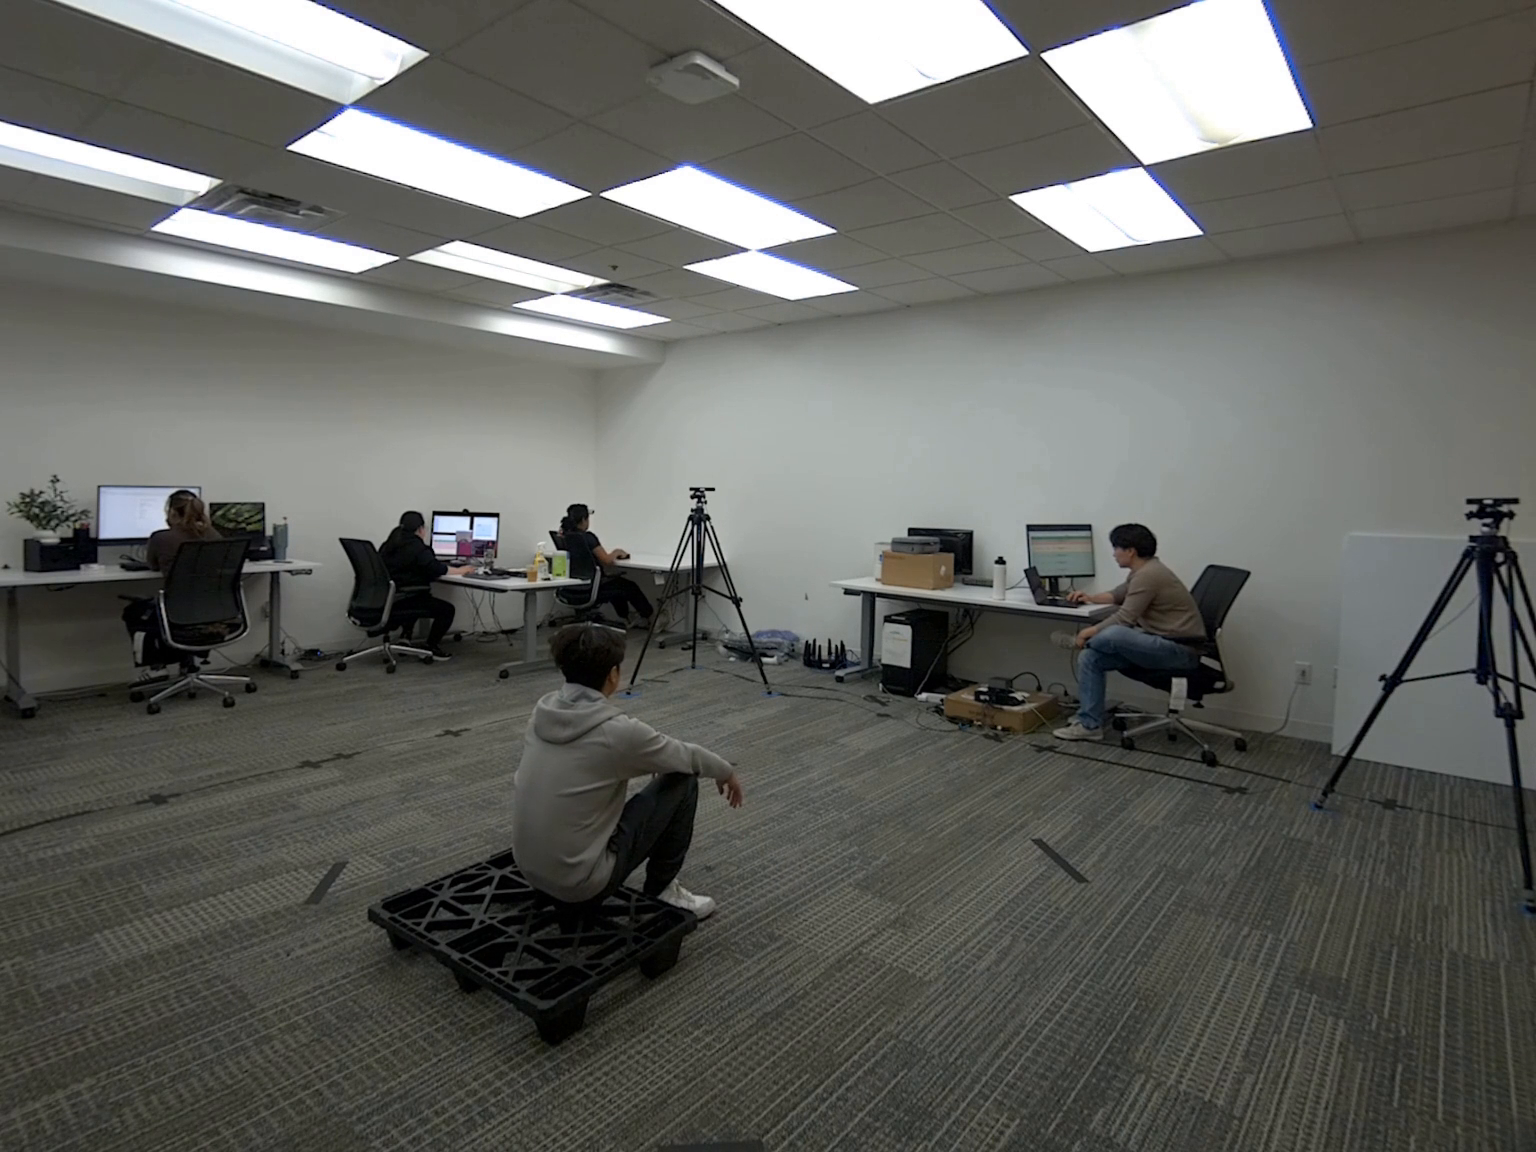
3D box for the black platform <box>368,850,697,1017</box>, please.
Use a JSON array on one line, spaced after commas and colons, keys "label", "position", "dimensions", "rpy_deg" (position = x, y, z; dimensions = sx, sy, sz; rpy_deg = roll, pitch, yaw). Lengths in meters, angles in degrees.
[{"label": "black platform", "position": [-0.705, 1.050, 2.518], "dimensions": [0.832, 0.143, 0.588], "rpy_deg": [5, 7, 36]}]
